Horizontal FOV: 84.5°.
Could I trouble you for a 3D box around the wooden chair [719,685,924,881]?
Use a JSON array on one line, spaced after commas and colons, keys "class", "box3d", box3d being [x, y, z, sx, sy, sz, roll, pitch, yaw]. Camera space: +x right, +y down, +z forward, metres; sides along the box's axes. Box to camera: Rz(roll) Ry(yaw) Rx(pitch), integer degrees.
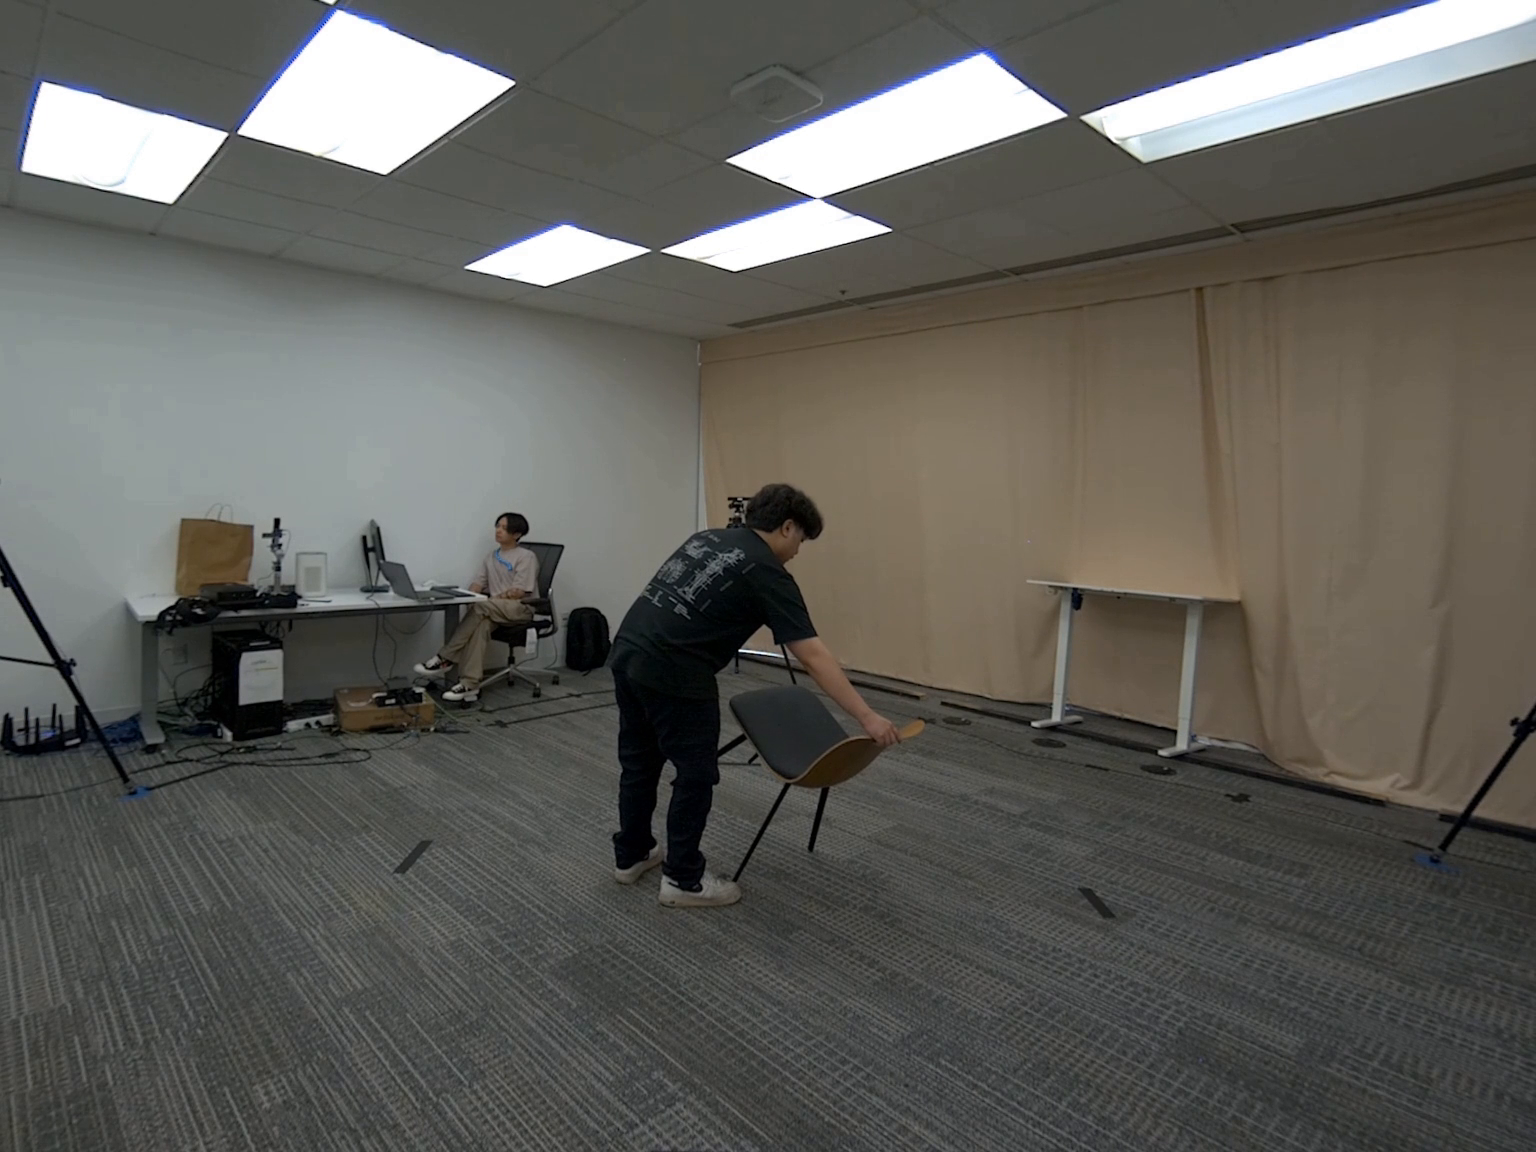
[{"class": "wooden chair", "box3d": [0.089, 0.636, 3.107, 0.467, 0.874, 0.537, -3, 49, -46]}]
